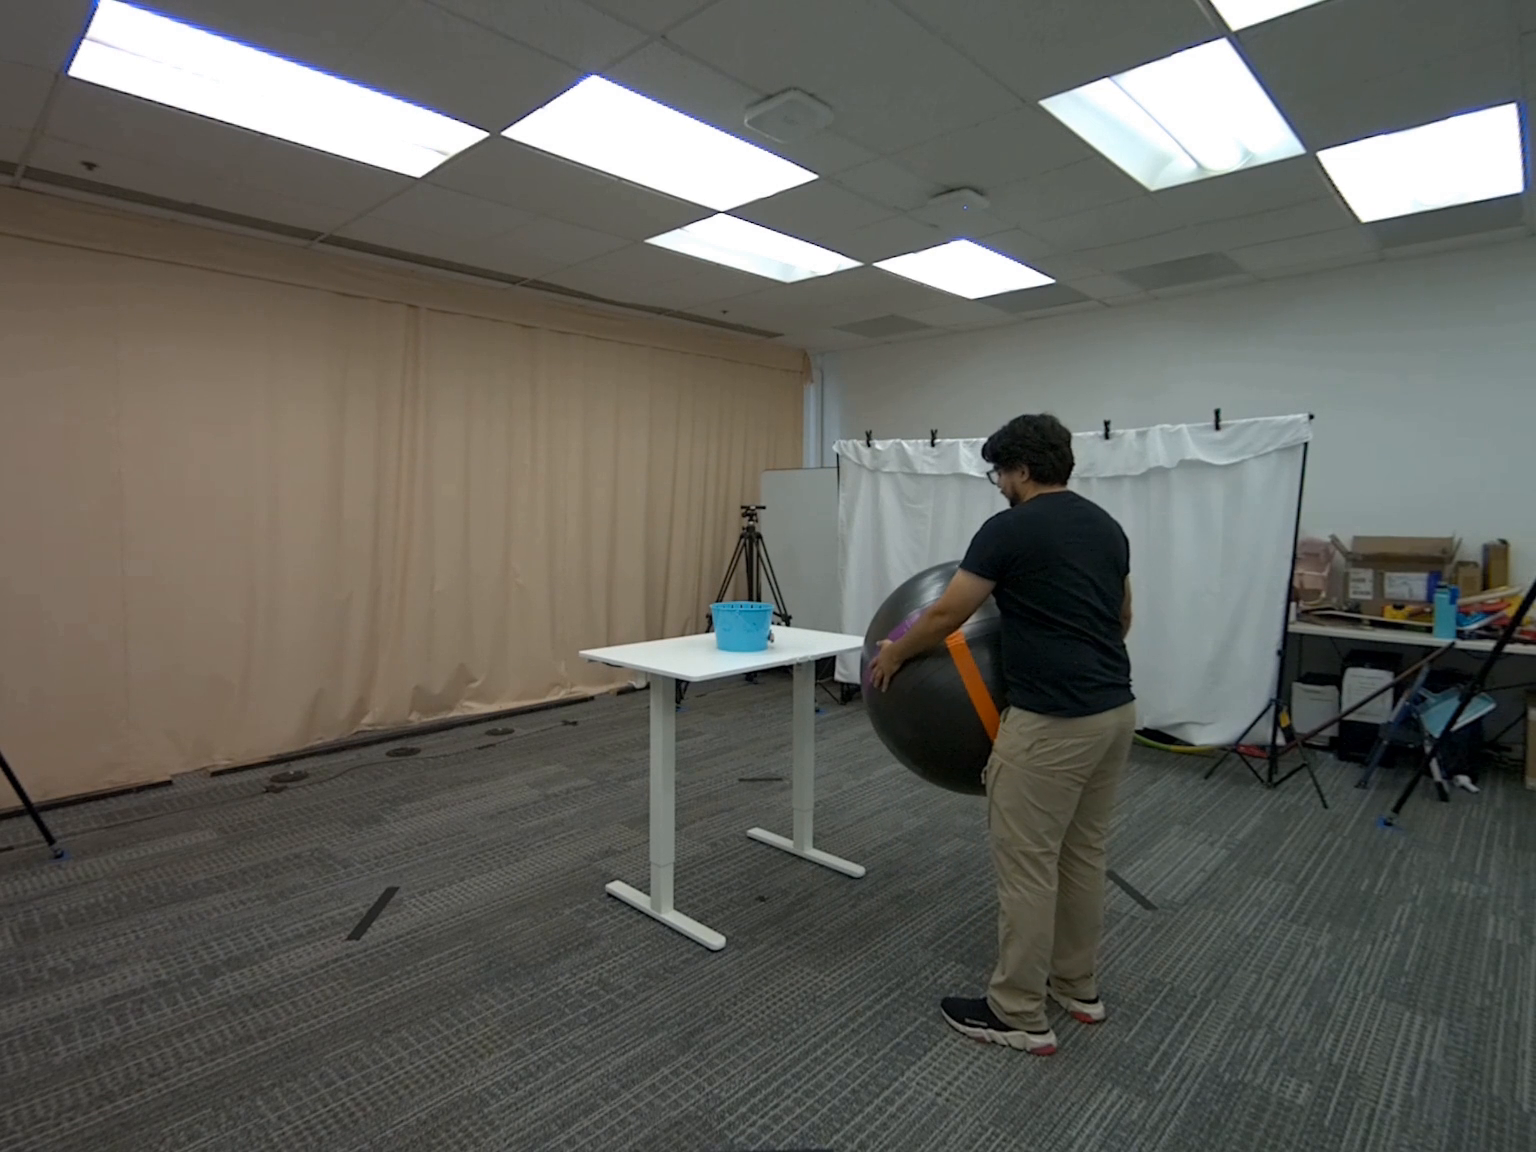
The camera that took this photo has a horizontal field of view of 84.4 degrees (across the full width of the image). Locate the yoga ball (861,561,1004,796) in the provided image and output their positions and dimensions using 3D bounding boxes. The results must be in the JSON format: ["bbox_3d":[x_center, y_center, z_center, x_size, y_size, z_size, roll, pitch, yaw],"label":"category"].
[{"bbox_3d":[0.698,0.331,2.750,0.757,0.756,0.760,0,4,-2],"label":"yoga ball"}]
